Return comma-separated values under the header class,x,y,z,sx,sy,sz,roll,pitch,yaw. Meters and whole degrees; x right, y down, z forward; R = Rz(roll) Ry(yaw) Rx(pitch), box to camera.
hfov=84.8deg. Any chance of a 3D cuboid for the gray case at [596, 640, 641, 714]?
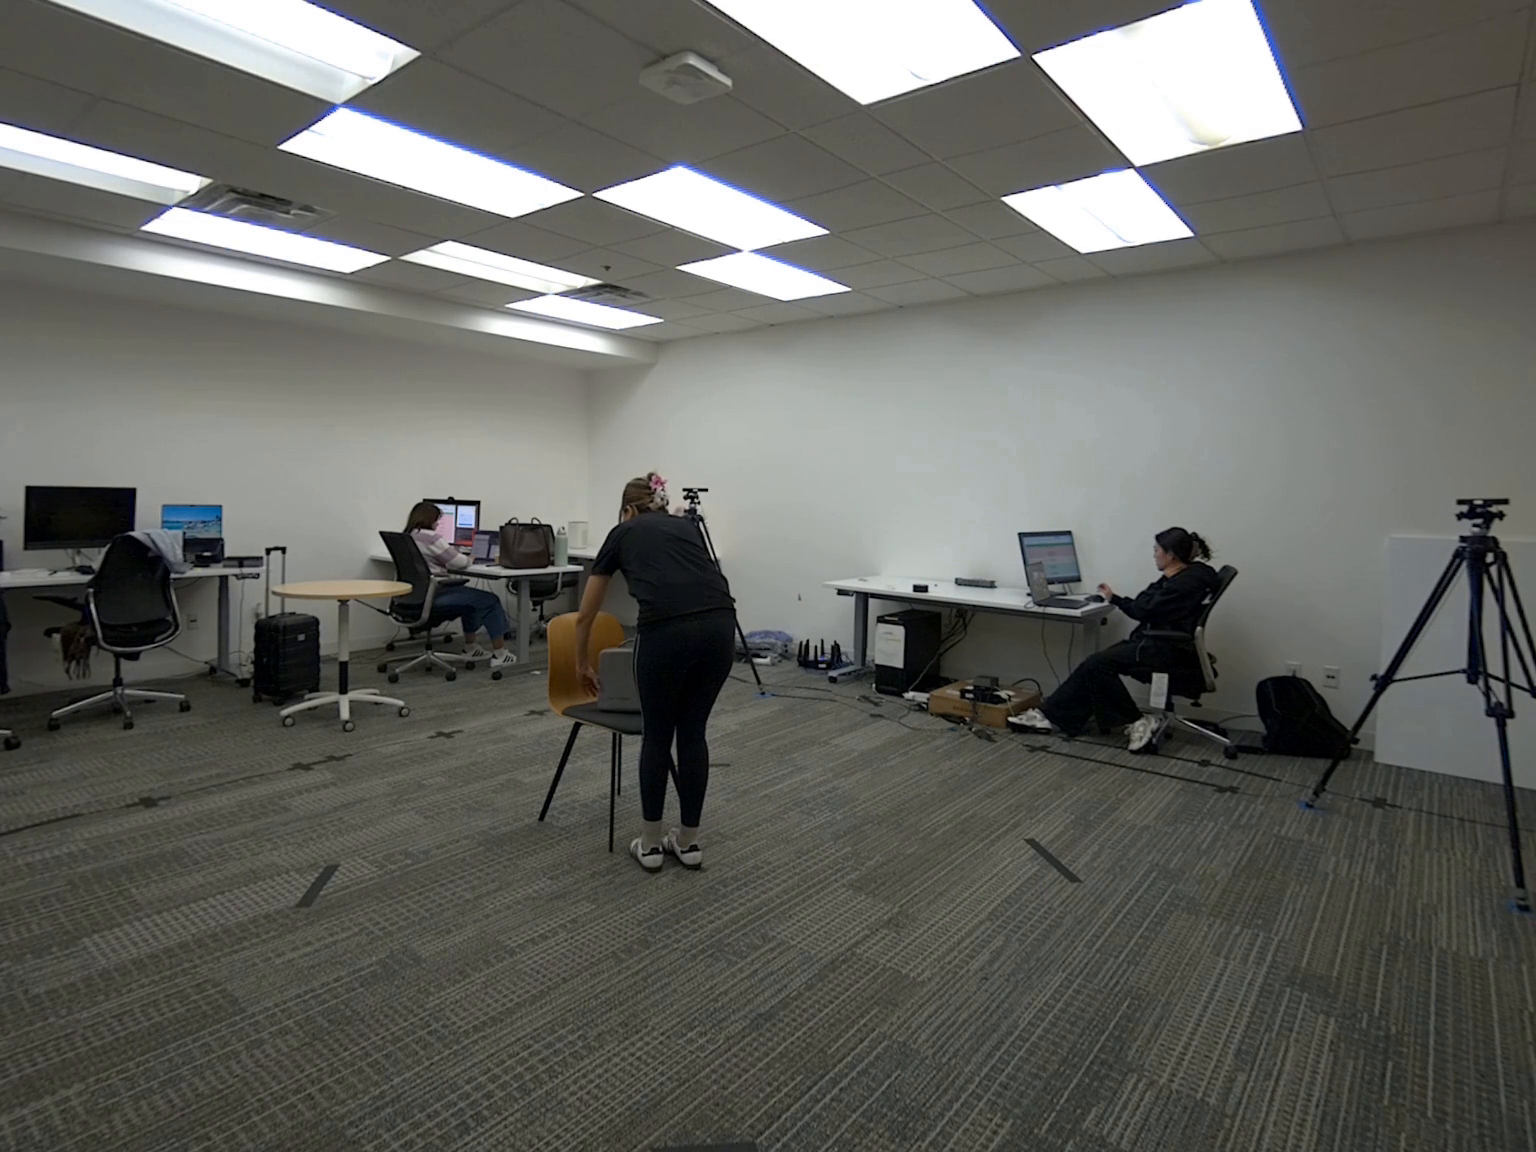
class,x,y,z,sx,sy,sz,roll,pitch,yaw
gray case,-0.591,0.422,3.494,0.262,0.262,0.101,-1,-8,18
